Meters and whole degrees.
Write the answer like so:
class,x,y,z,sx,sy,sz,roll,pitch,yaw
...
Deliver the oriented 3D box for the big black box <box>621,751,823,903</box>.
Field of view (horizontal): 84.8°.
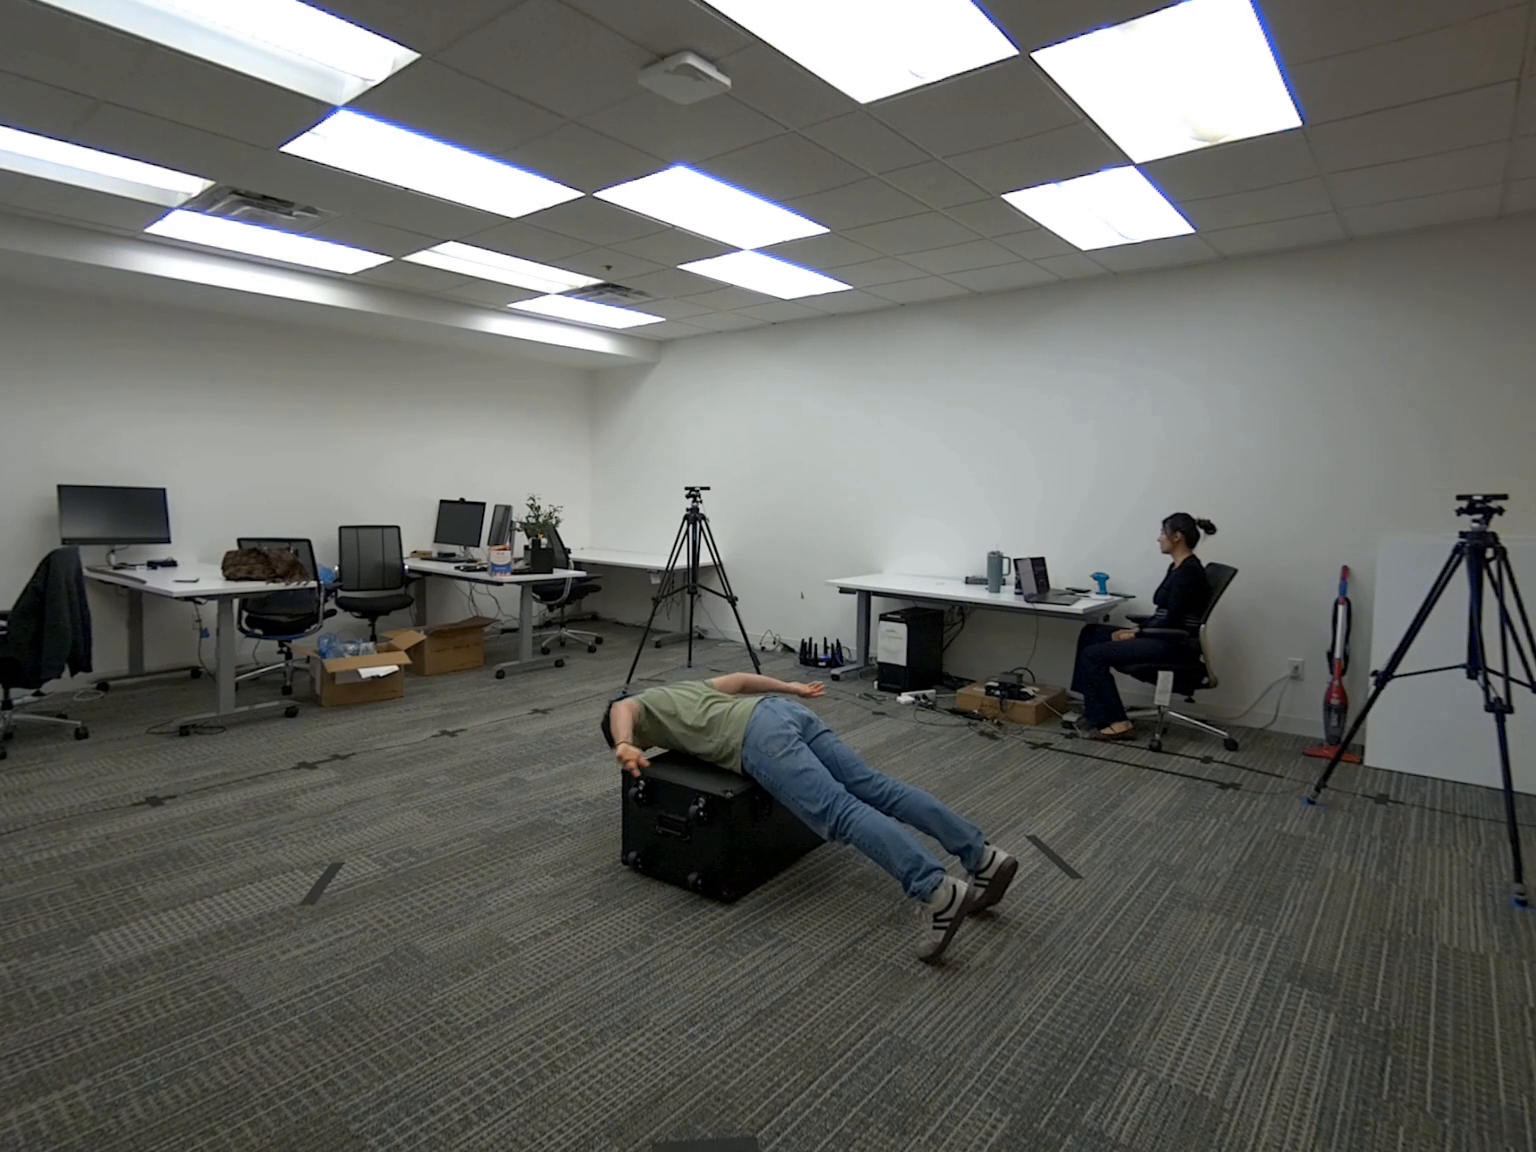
class,x,y,z,sx,sy,sz,roll,pitch,yaw
big black box,-0.151,0.869,3.222,0.538,0.395,0.837,4,4,33
